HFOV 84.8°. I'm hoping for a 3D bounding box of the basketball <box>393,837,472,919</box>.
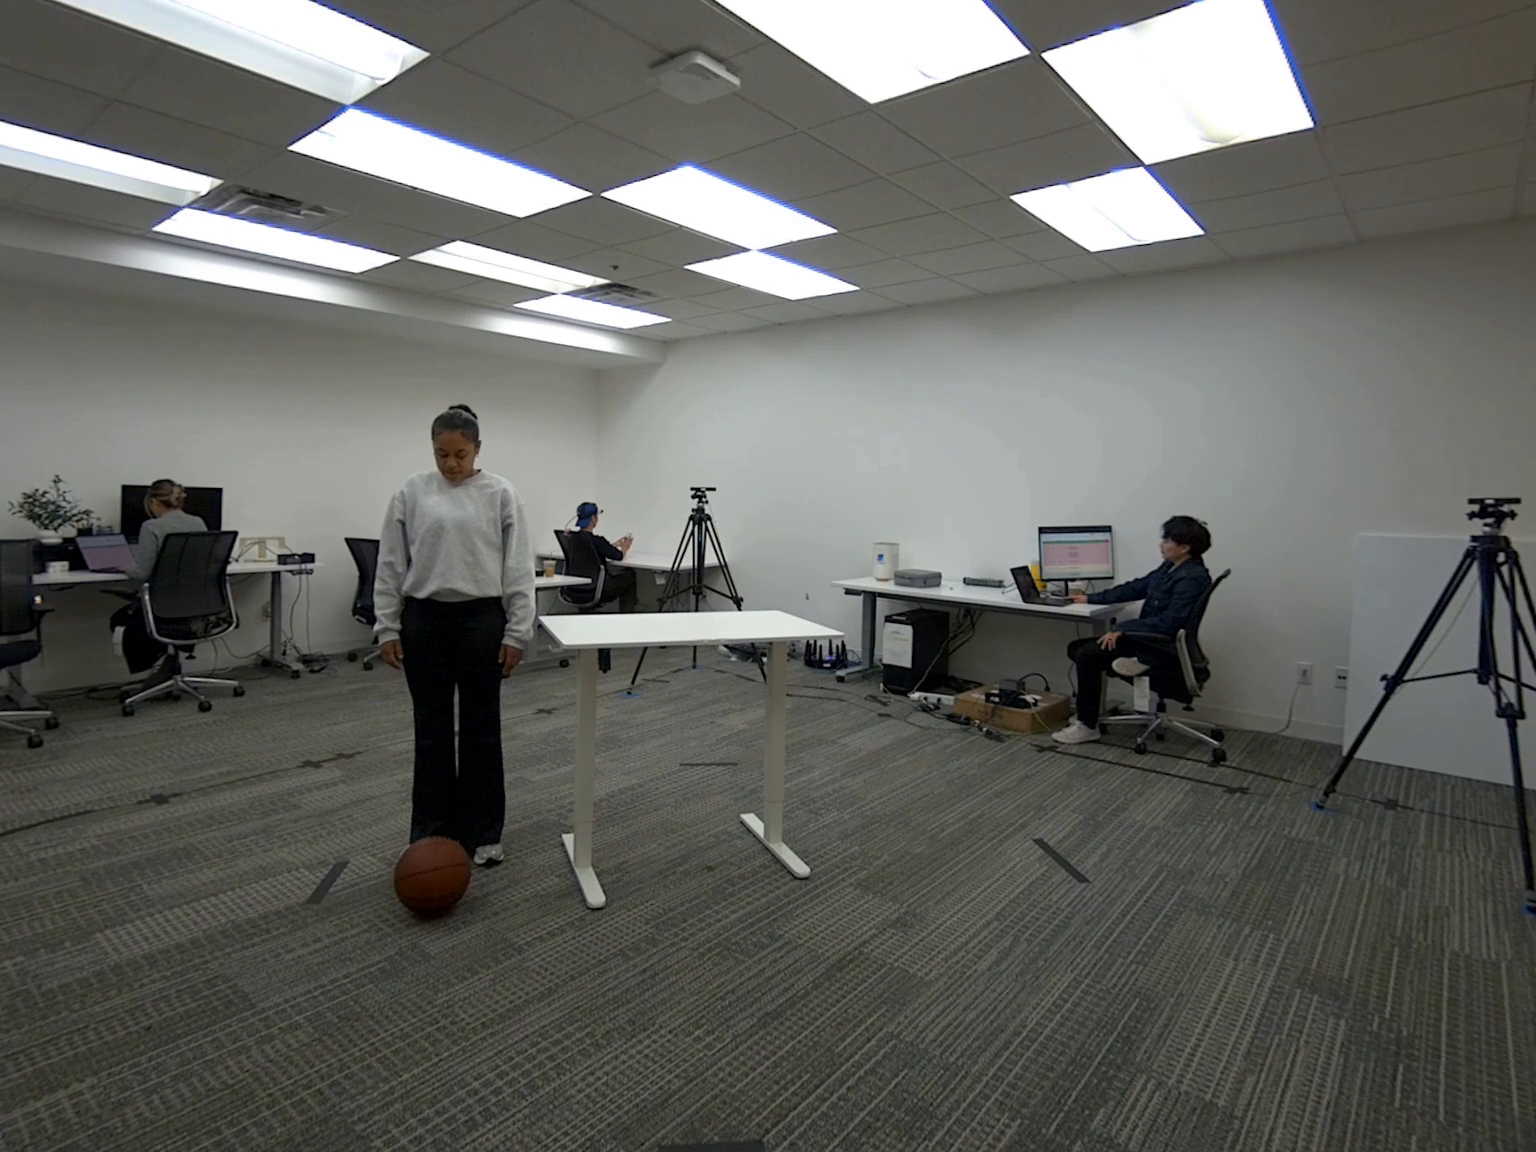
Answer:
[{"bbox_3d":[-1.098,0.963,2.764,0.235,0.235,0.237,1,4,-2],"label":"basketball"}]
